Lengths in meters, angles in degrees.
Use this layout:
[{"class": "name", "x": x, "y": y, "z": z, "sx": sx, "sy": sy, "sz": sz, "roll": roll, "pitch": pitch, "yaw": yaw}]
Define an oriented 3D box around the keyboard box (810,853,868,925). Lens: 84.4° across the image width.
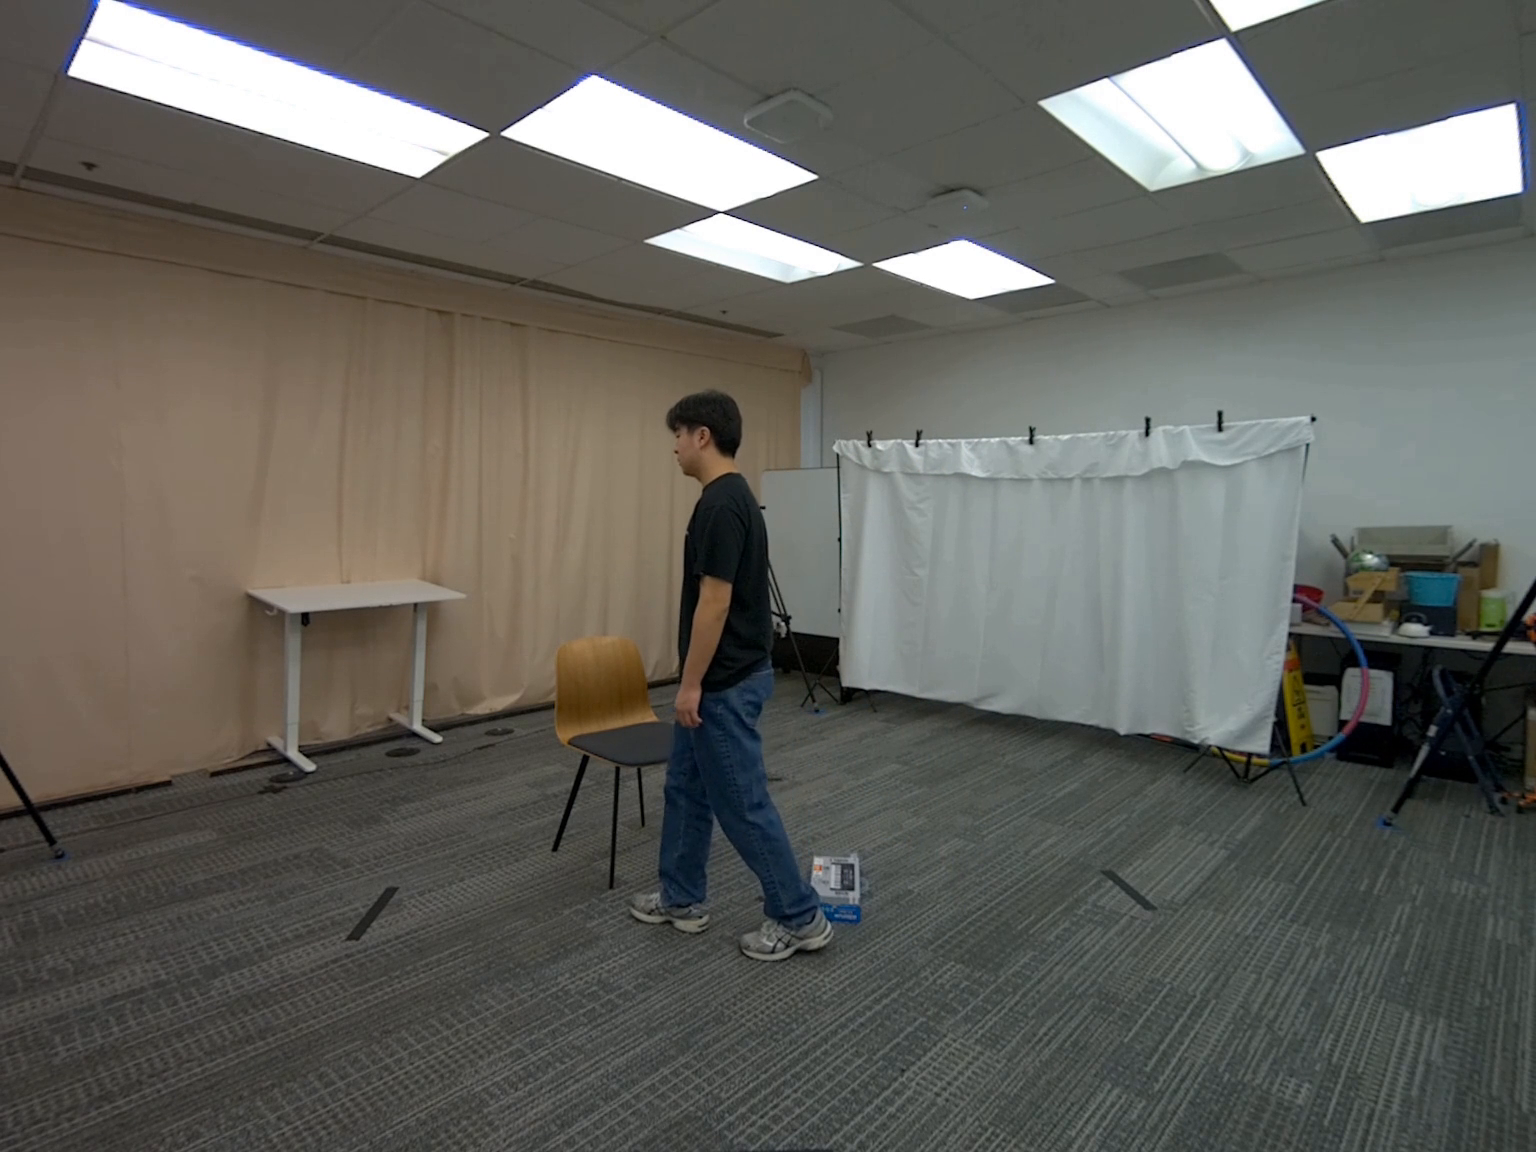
[{"class": "keyboard box", "x": 0.247, "y": 1.110, "z": 3.033, "sx": 0.177, "sy": 0.059, "sz": 0.434, "roll": 0, "pitch": 5, "yaw": 6}]
